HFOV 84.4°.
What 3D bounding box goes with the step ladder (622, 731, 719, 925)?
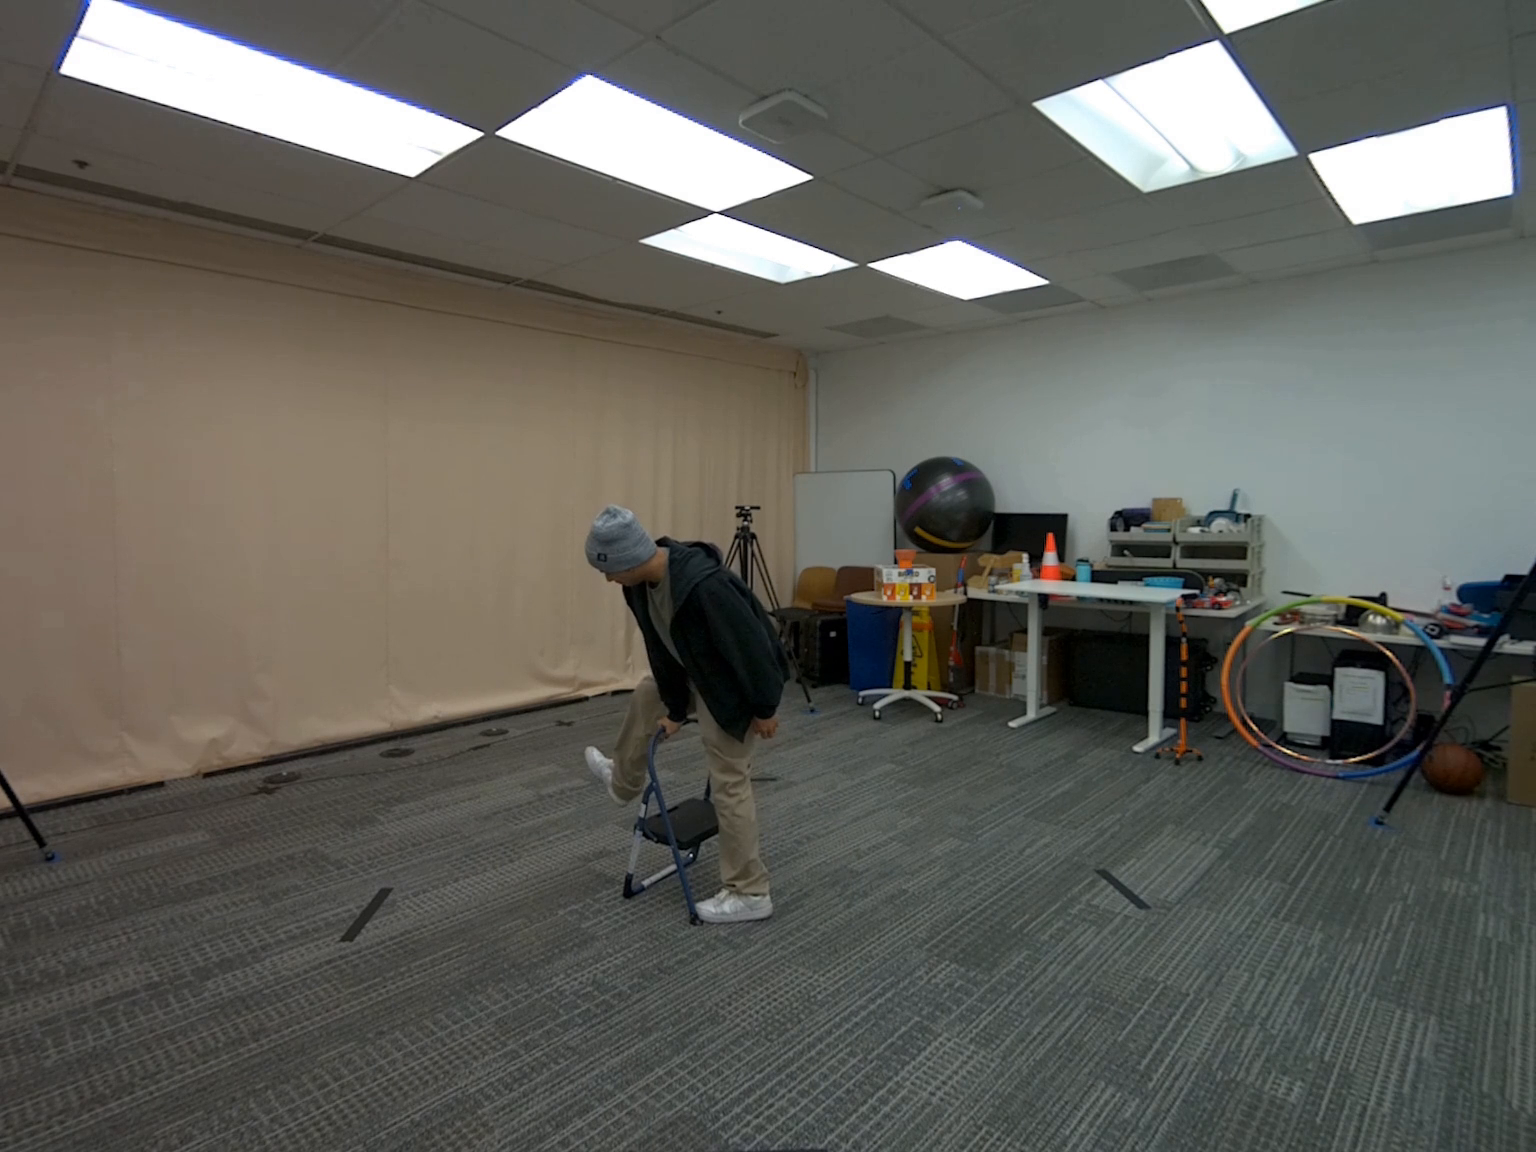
[{"bbox_3d":[-0.267,0.840,3.050,0.360,0.605,0.418,2,4,33],"label":"step ladder"}]
